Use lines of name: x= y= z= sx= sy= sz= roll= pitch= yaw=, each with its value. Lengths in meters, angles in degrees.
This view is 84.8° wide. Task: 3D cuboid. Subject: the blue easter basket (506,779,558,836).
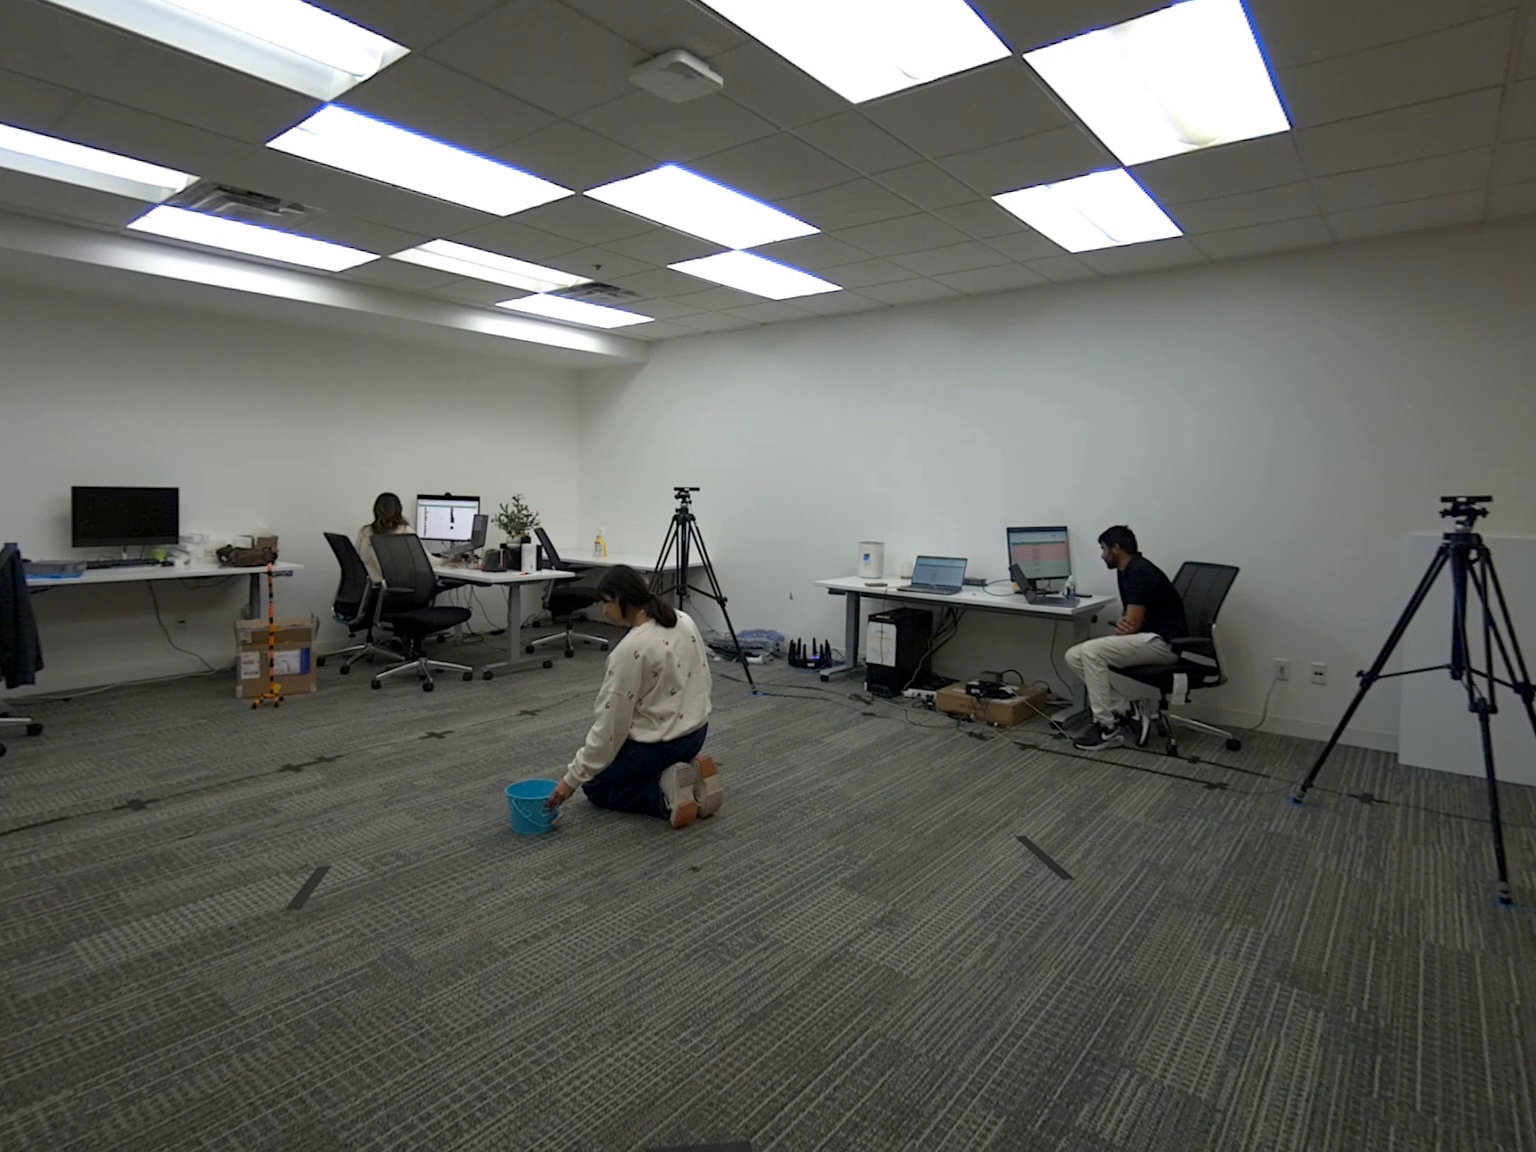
blue easter basket: x=-0.970 y=0.941 z=3.489 sx=0.243 sy=0.155 sz=0.245 roll=0 pitch=5 yaw=-2
